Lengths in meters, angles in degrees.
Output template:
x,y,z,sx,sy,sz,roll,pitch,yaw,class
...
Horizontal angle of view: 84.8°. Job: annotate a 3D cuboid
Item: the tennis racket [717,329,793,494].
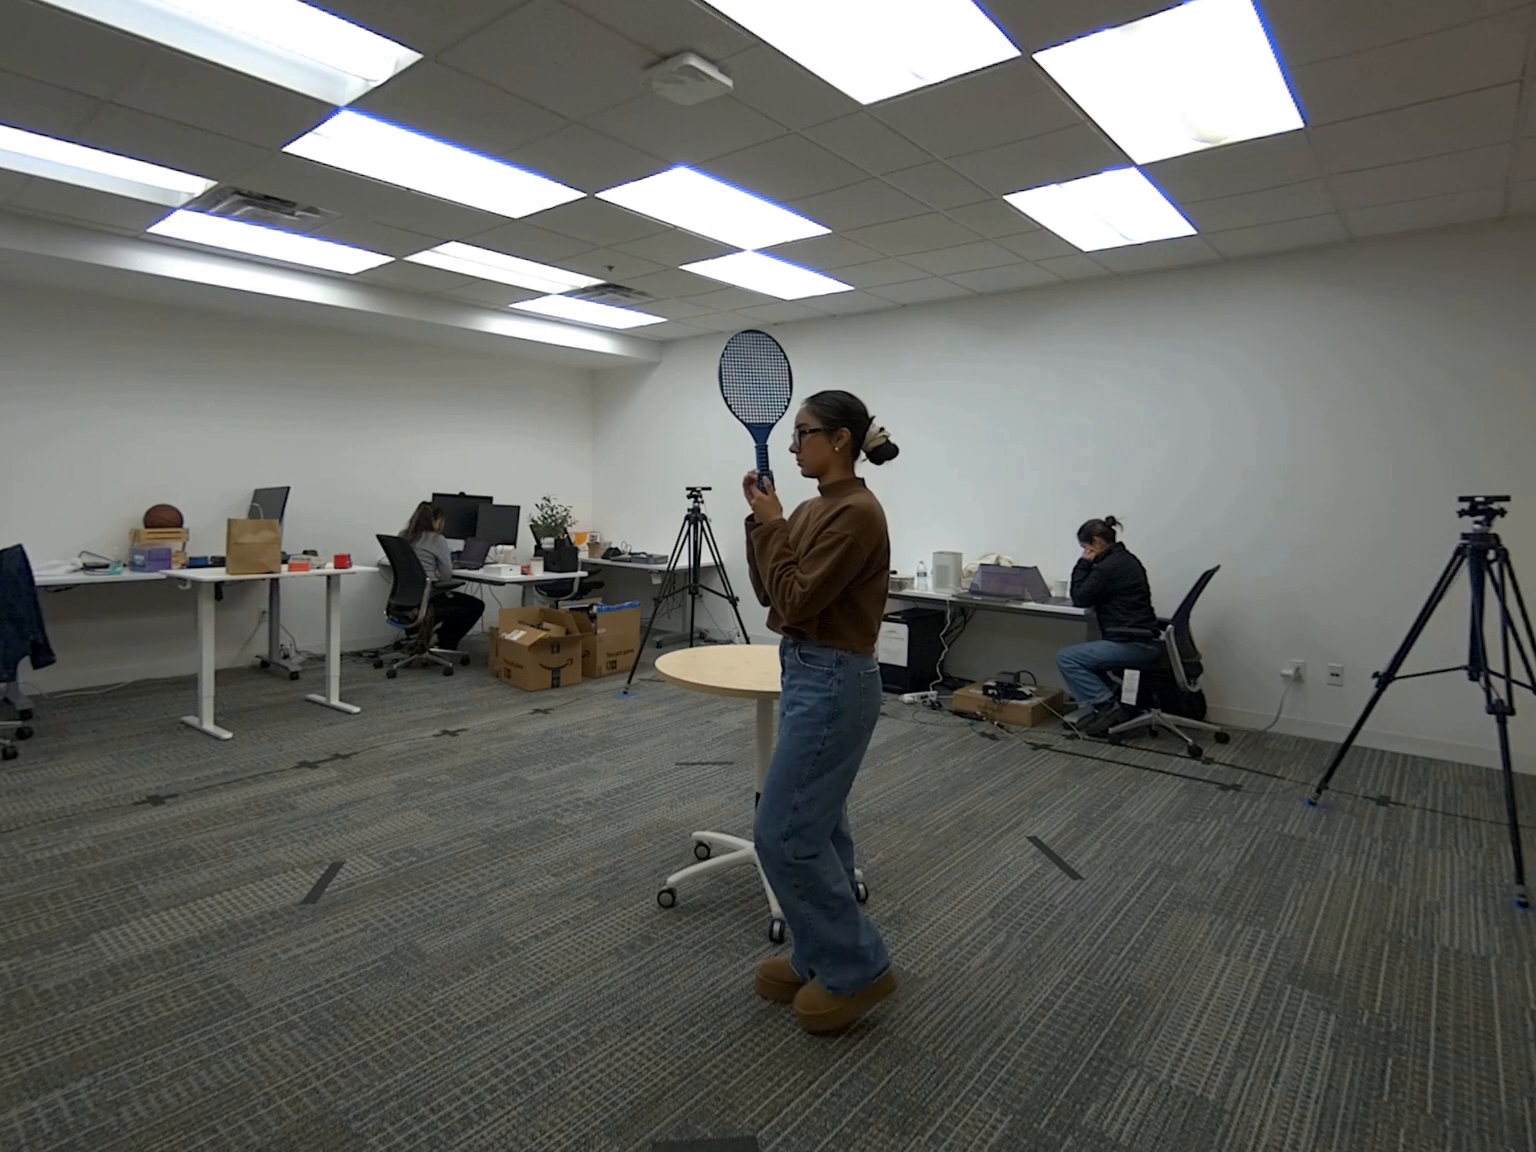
x,y,z,sx,sy,sz,roll,pitch,yaw,class
-0.039,-0.447,2.247,0.210,0.434,0.032,-6,-3,-20,tennis racket
